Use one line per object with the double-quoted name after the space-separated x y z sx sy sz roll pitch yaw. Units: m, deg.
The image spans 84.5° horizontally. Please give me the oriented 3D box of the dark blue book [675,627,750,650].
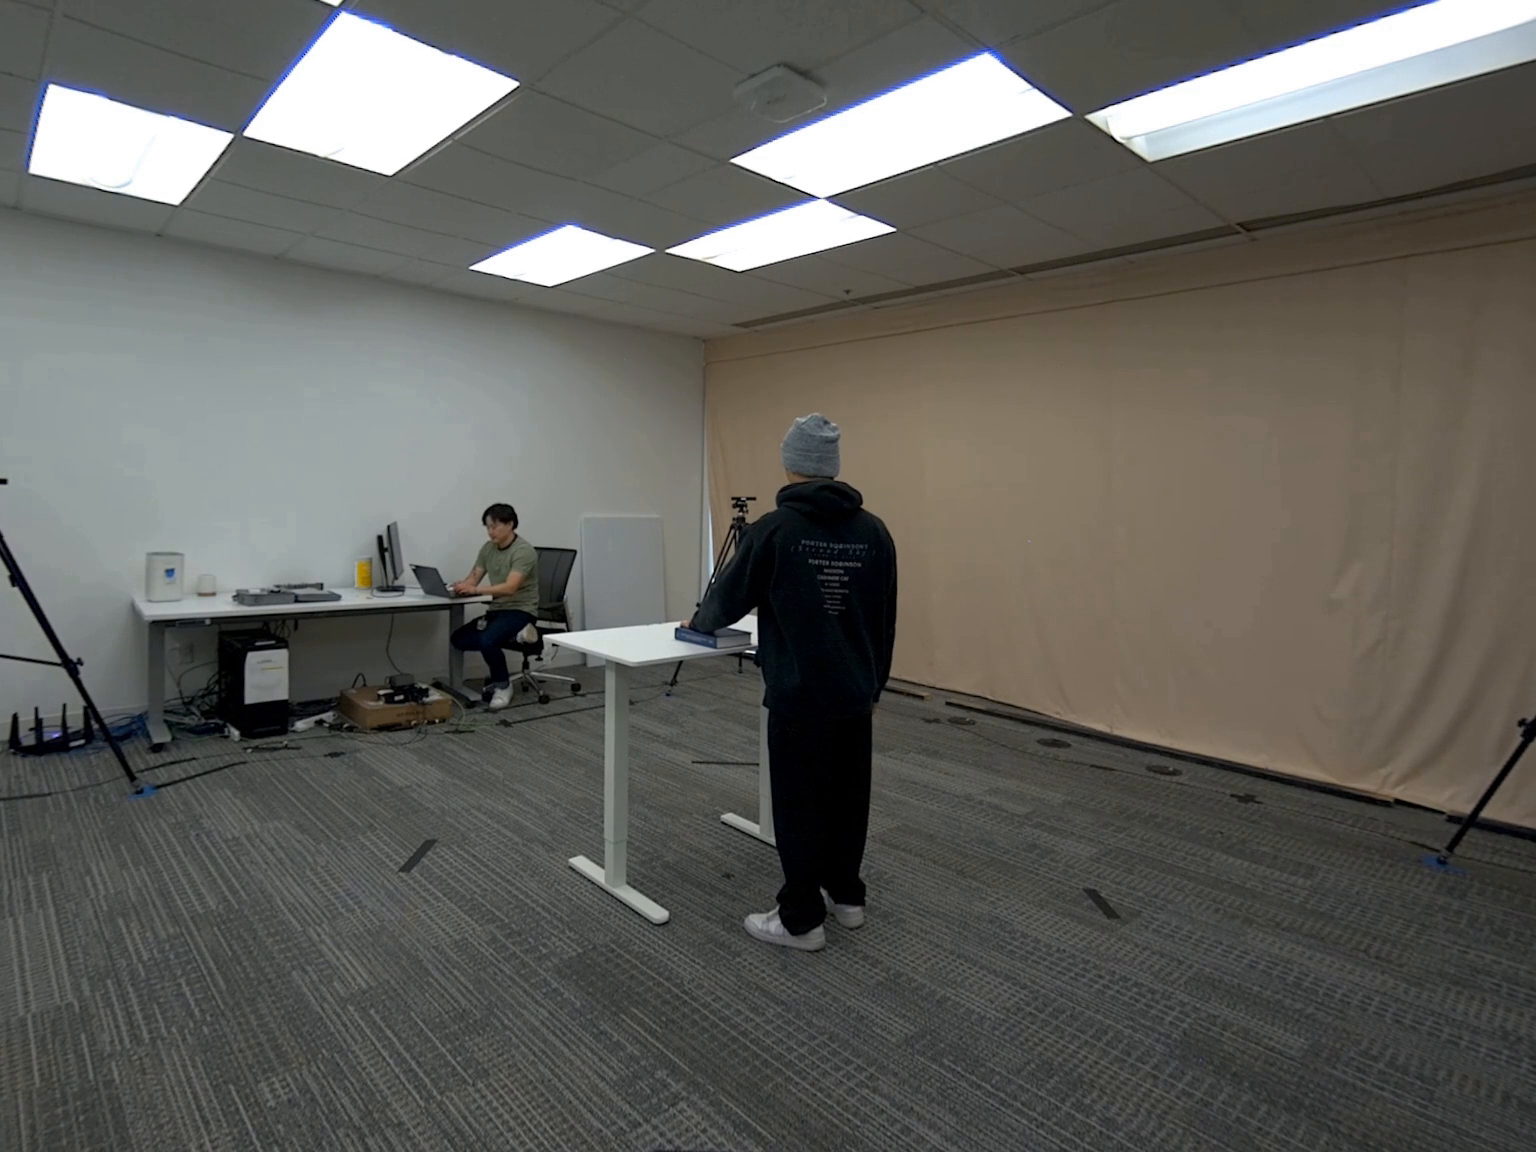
-0.192 0.216 2.977 0.160 0.045 0.251 -5 8 -40 "dark blue book"
